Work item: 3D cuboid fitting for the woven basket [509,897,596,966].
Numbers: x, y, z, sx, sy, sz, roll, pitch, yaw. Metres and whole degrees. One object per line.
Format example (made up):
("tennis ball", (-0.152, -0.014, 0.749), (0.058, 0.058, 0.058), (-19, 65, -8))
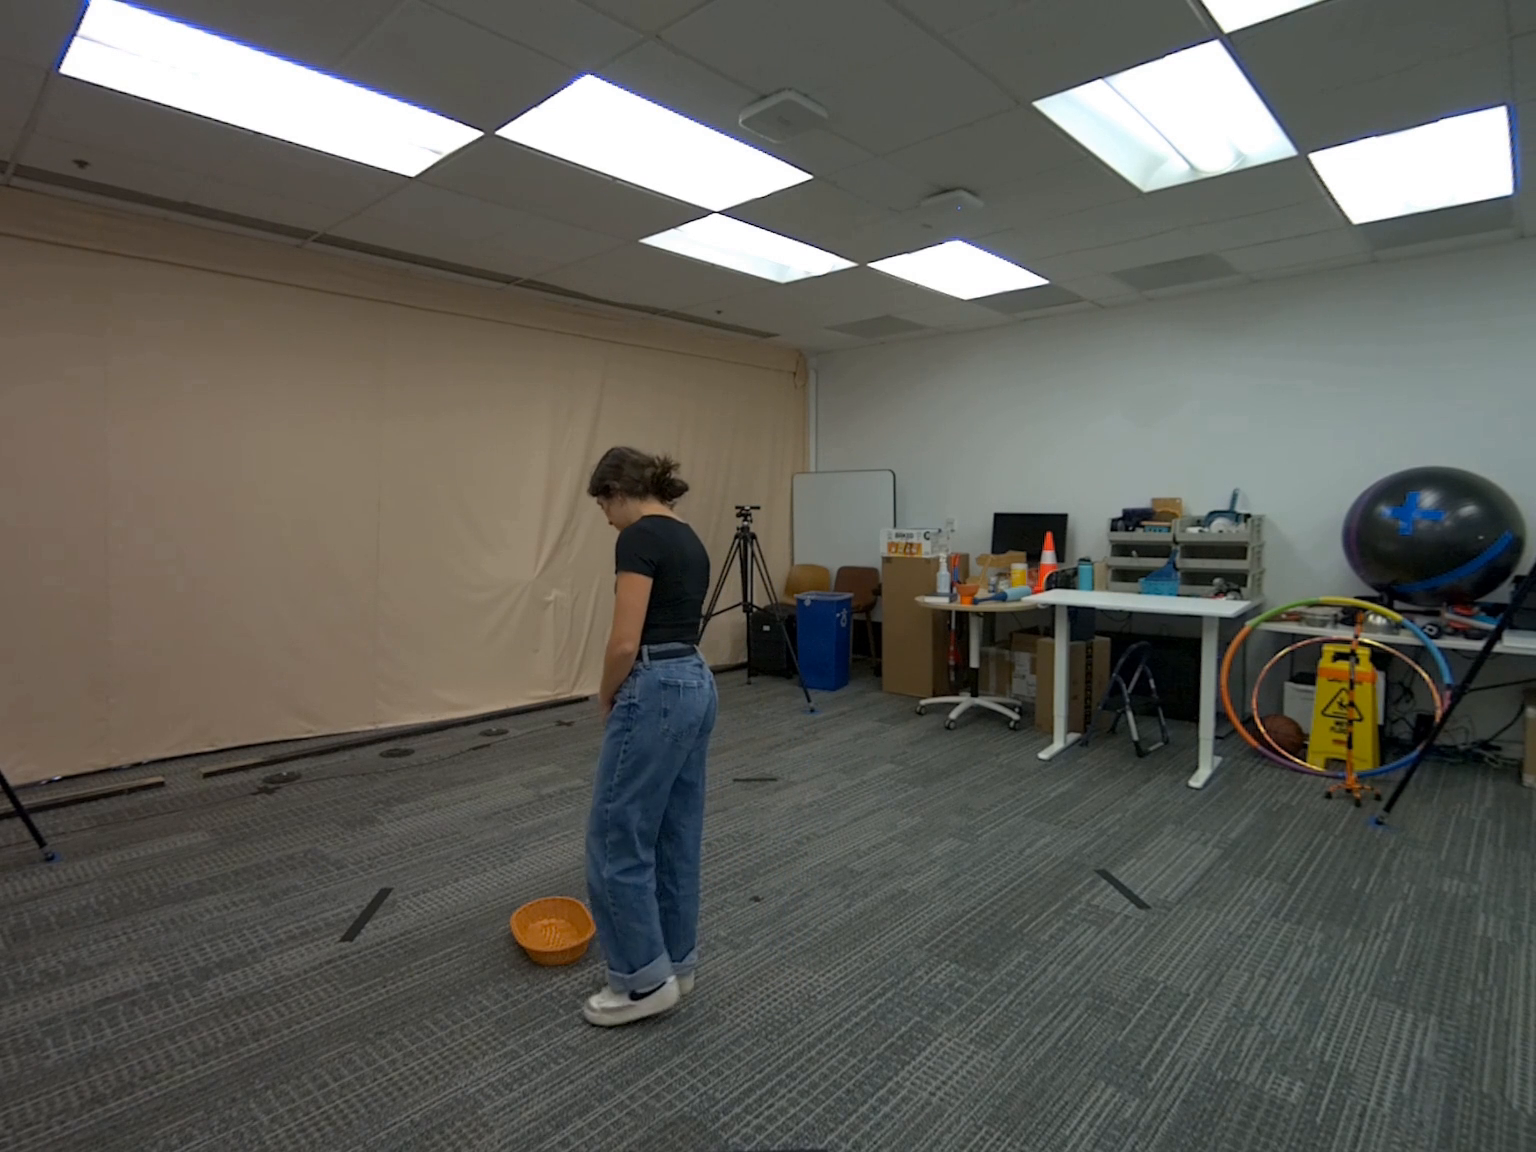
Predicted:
("woven basket", (-0.686, 1.134, 2.684), (0.246, 0.073, 0.360), (-4, 6, -25))
